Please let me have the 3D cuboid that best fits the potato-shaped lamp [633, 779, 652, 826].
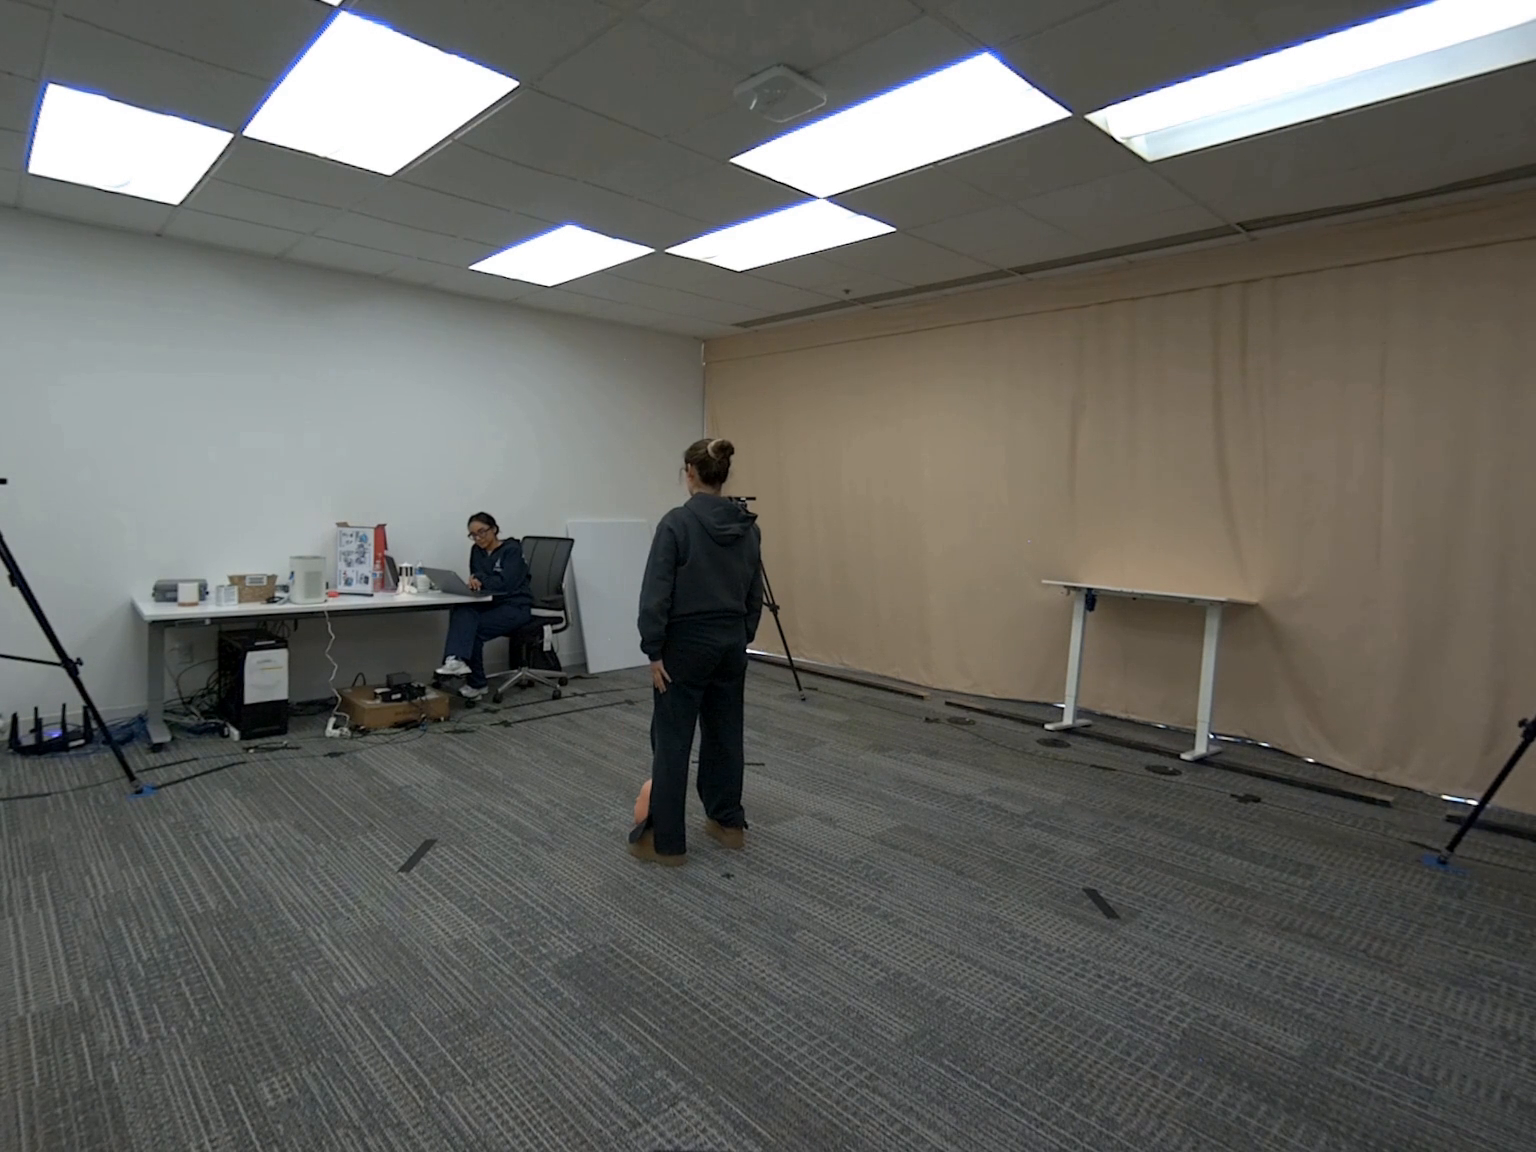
[{"bbox_3d":[-0.492,0.957,3.577,0.161,0.197,0.176,1,7,-45],"label":"potato-shaped lamp"}]
